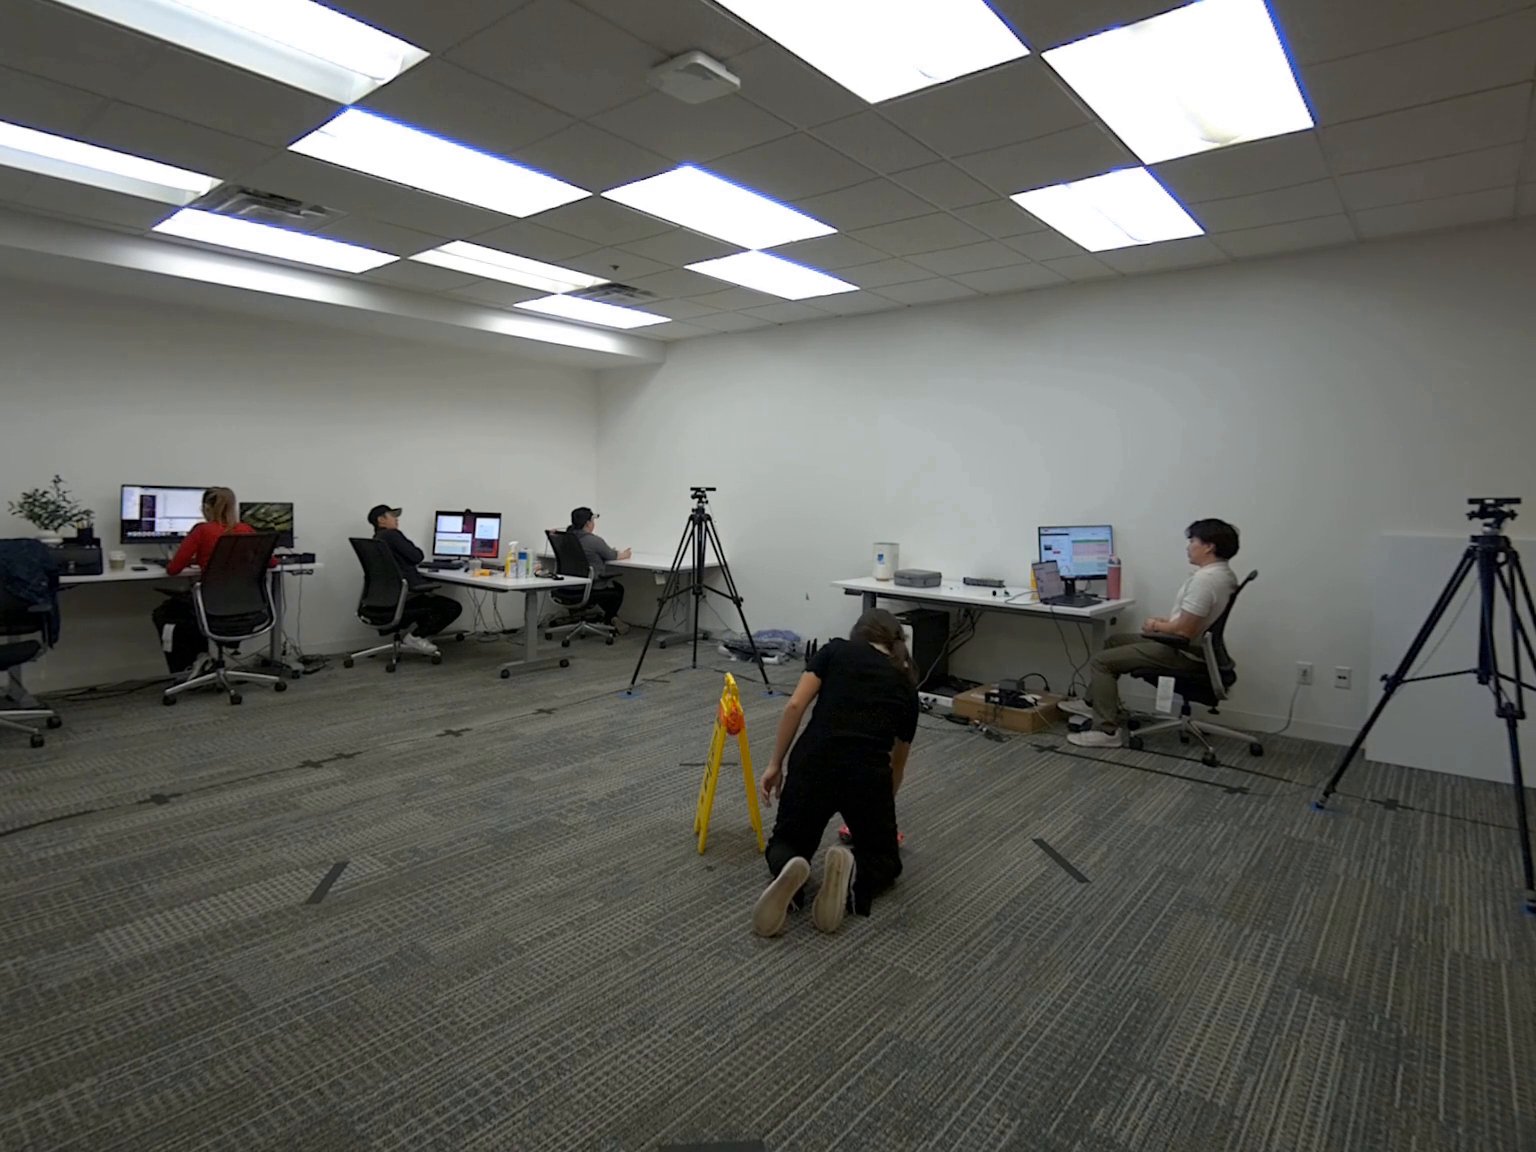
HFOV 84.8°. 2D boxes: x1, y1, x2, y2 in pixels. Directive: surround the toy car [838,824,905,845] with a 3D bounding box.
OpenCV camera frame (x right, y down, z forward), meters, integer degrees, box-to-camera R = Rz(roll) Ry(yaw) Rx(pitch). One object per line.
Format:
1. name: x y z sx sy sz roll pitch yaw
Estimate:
1. toy car: 0.405 1.026 3.342 0.261 0.083 0.127 -7 -1 30
